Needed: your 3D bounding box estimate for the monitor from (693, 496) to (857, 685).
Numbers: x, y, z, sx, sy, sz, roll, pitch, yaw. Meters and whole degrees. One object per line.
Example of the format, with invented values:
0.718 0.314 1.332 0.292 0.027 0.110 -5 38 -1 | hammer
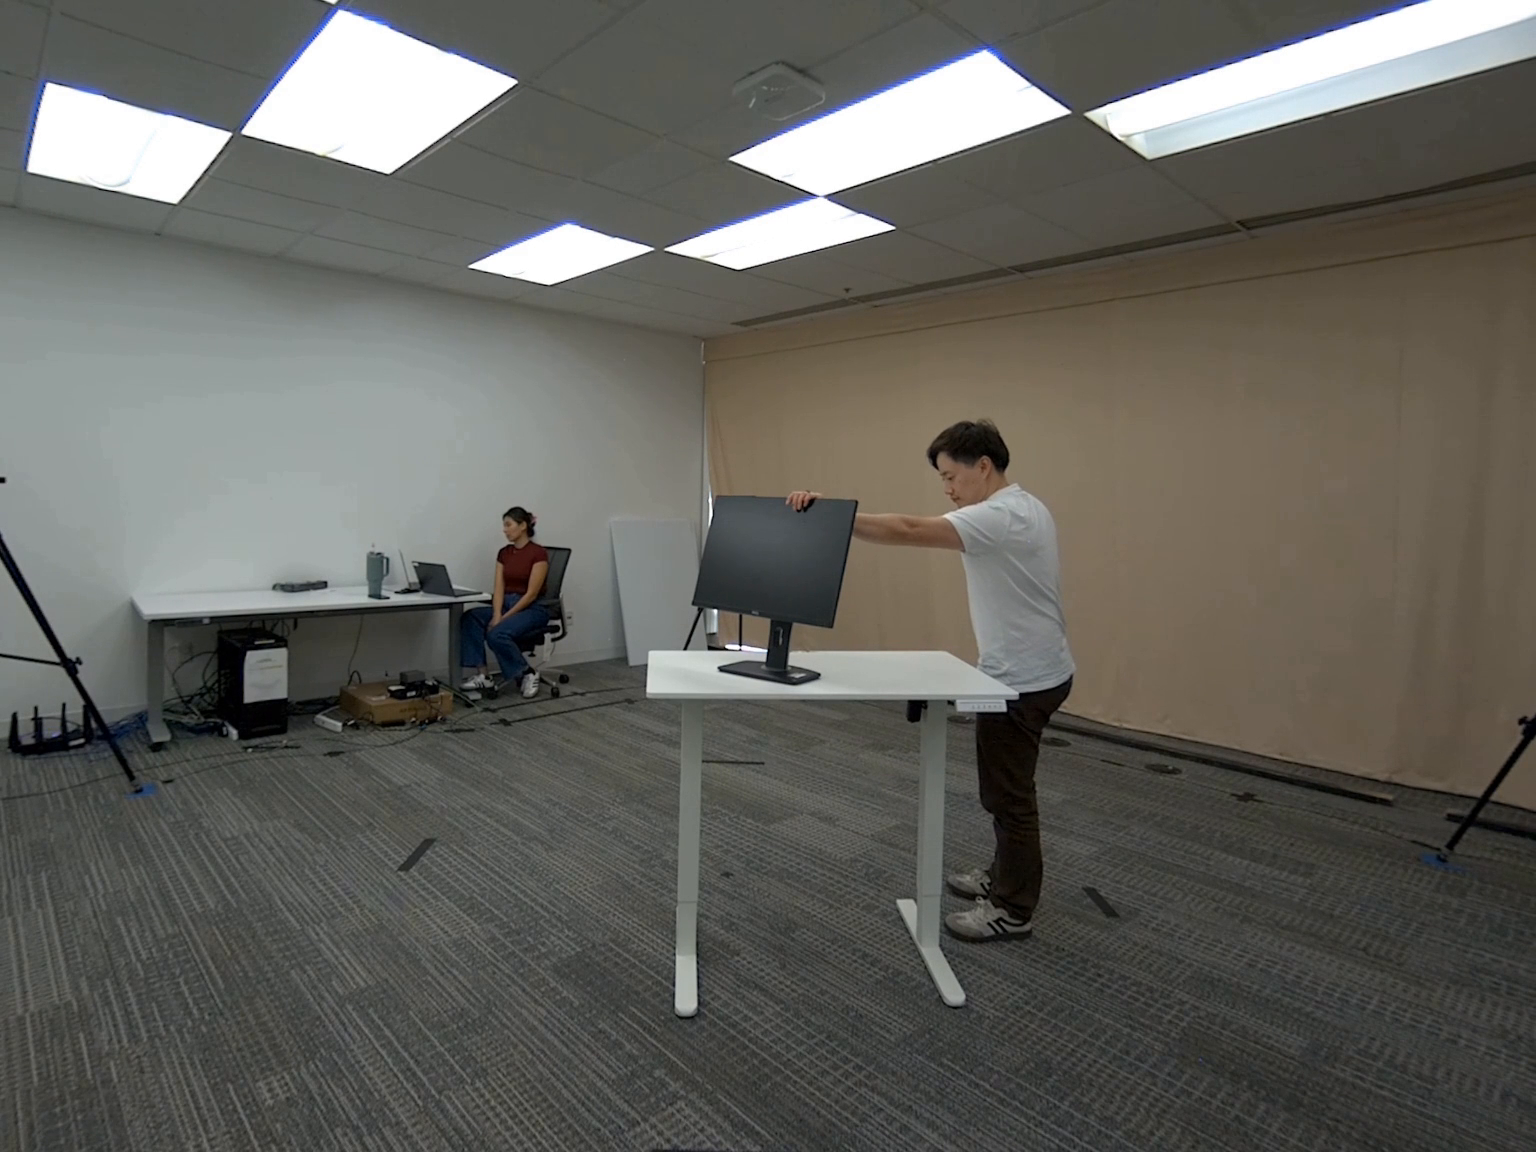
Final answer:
0.019 0.037 2.432 0.553 0.521 0.183 6 4 41 | monitor
